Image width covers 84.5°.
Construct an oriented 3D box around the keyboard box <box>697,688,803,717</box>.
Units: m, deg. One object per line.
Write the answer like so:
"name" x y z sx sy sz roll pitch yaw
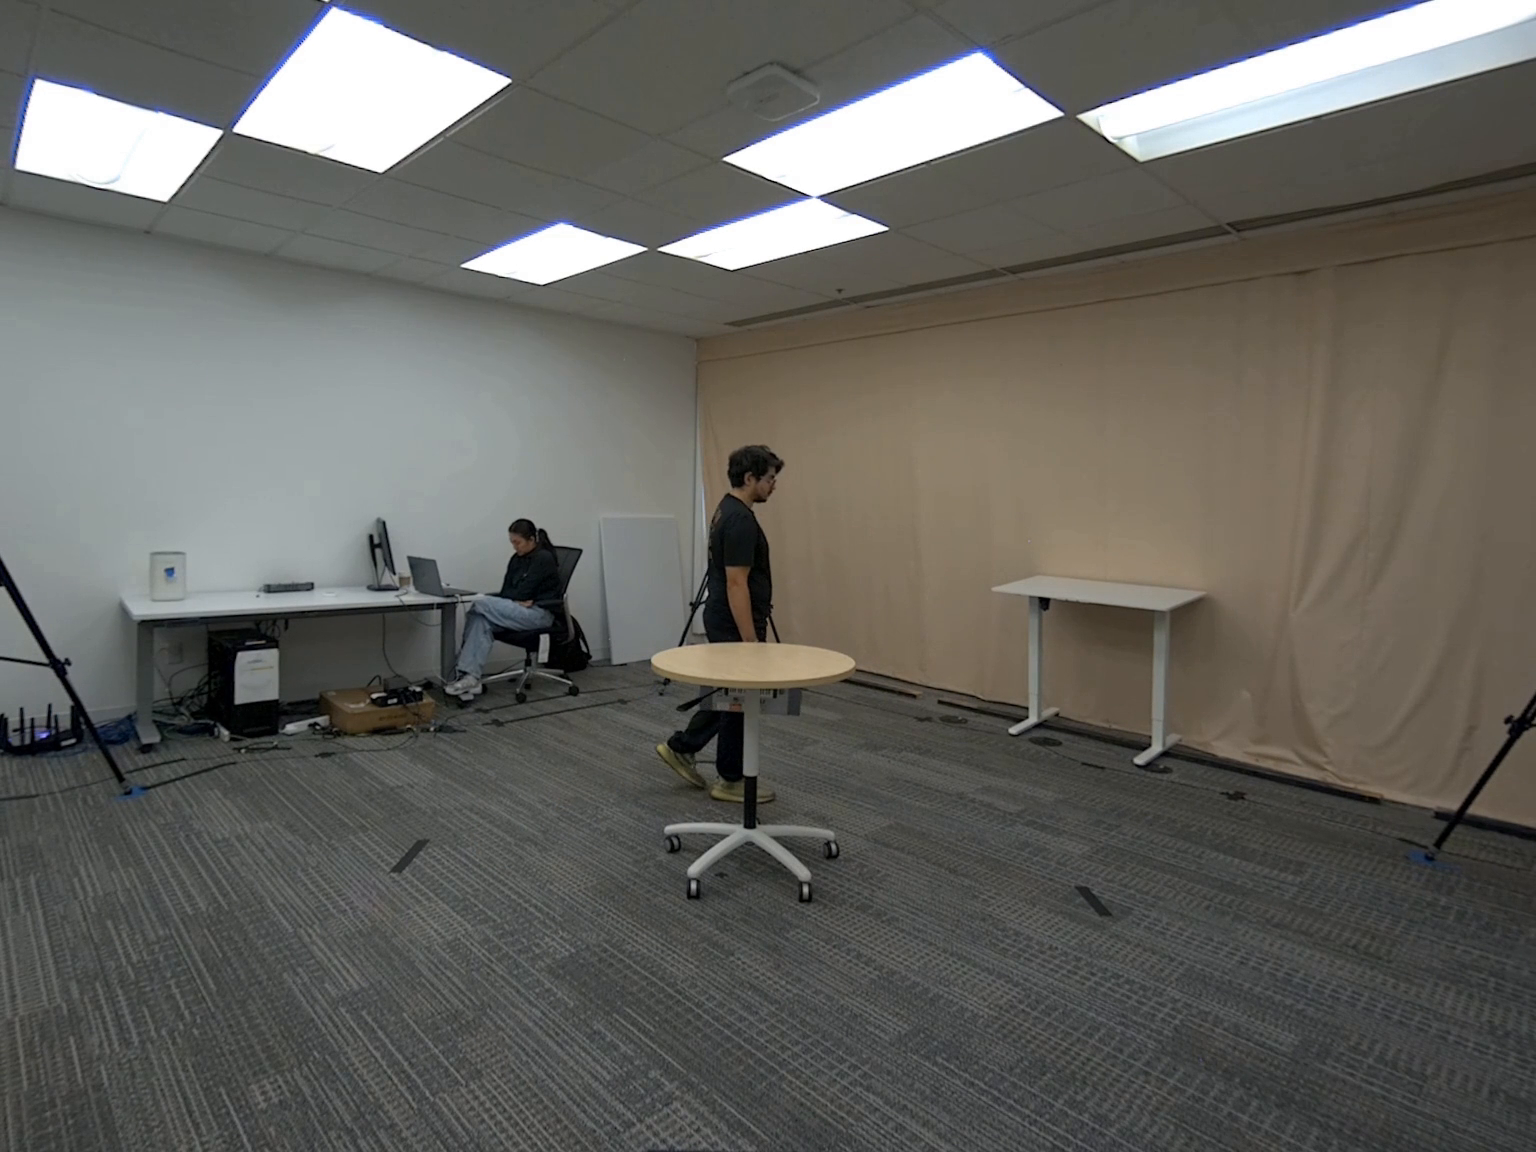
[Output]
"keyboard box" -0.088 0.495 3.653 0.436 0.176 0.059 2 2 -1
